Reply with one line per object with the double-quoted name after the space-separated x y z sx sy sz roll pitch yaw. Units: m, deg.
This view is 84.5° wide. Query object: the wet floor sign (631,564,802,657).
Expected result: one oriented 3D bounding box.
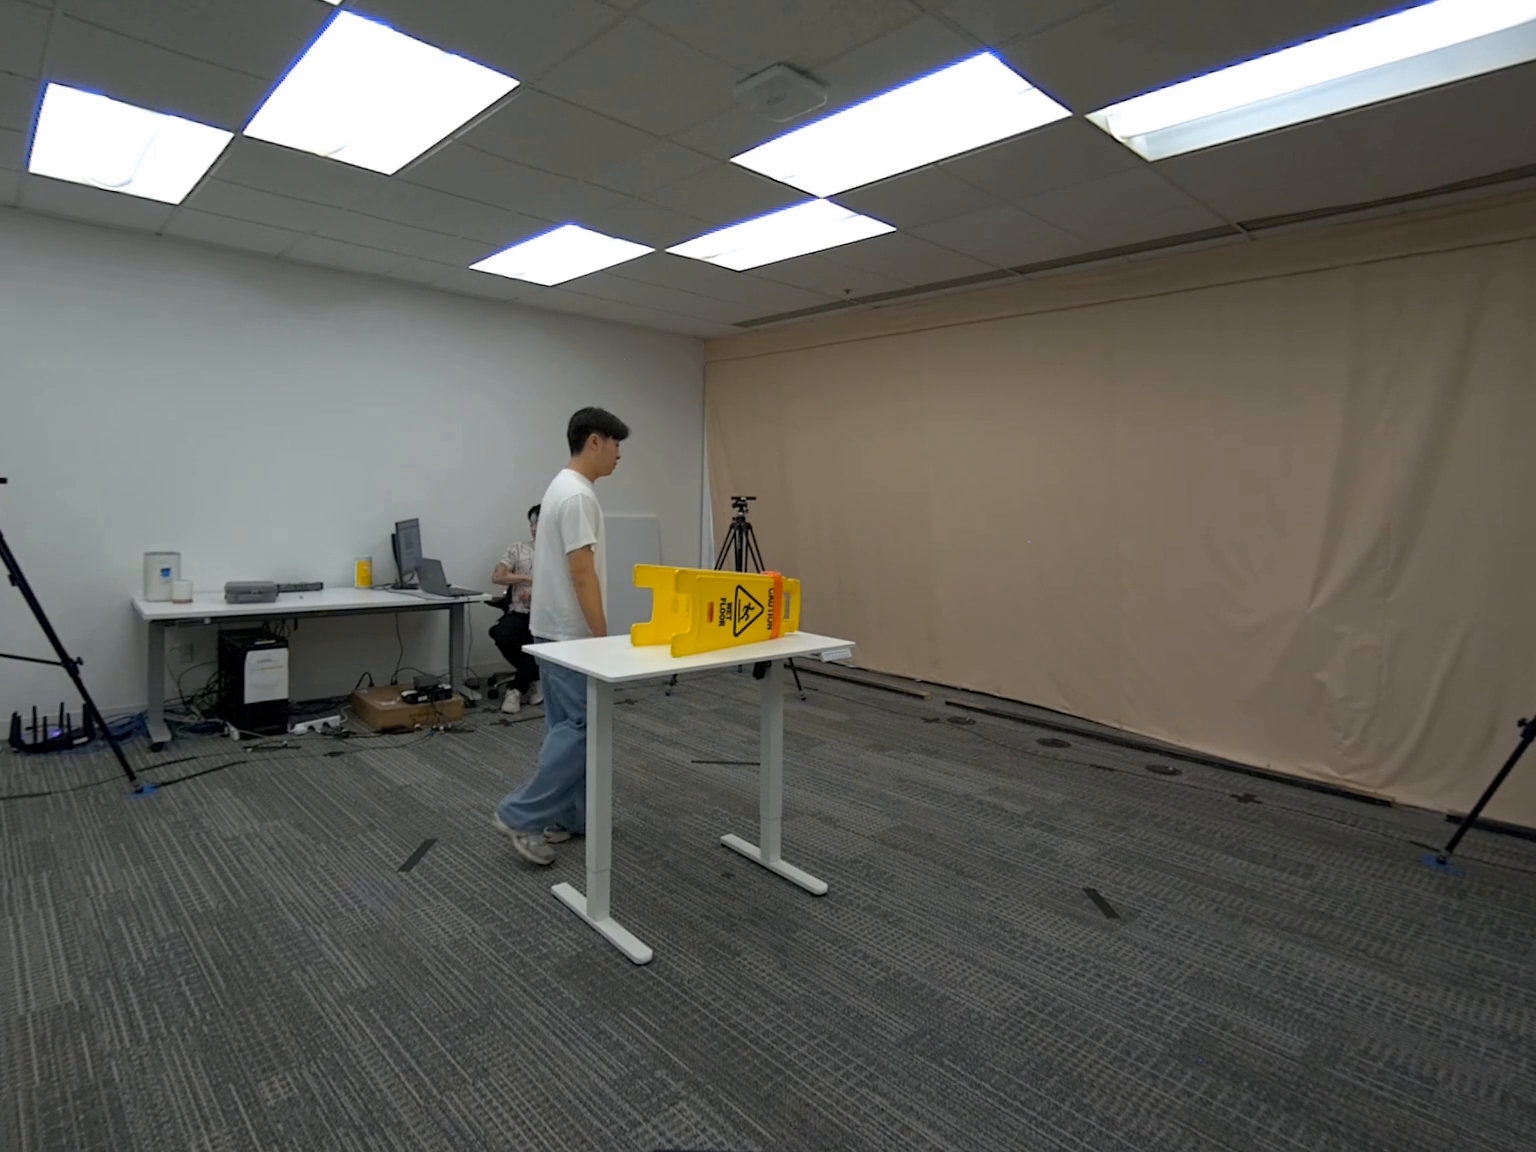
-0.150 0.111 2.958 0.631 0.282 0.297 0 3 -40 "wet floor sign"
